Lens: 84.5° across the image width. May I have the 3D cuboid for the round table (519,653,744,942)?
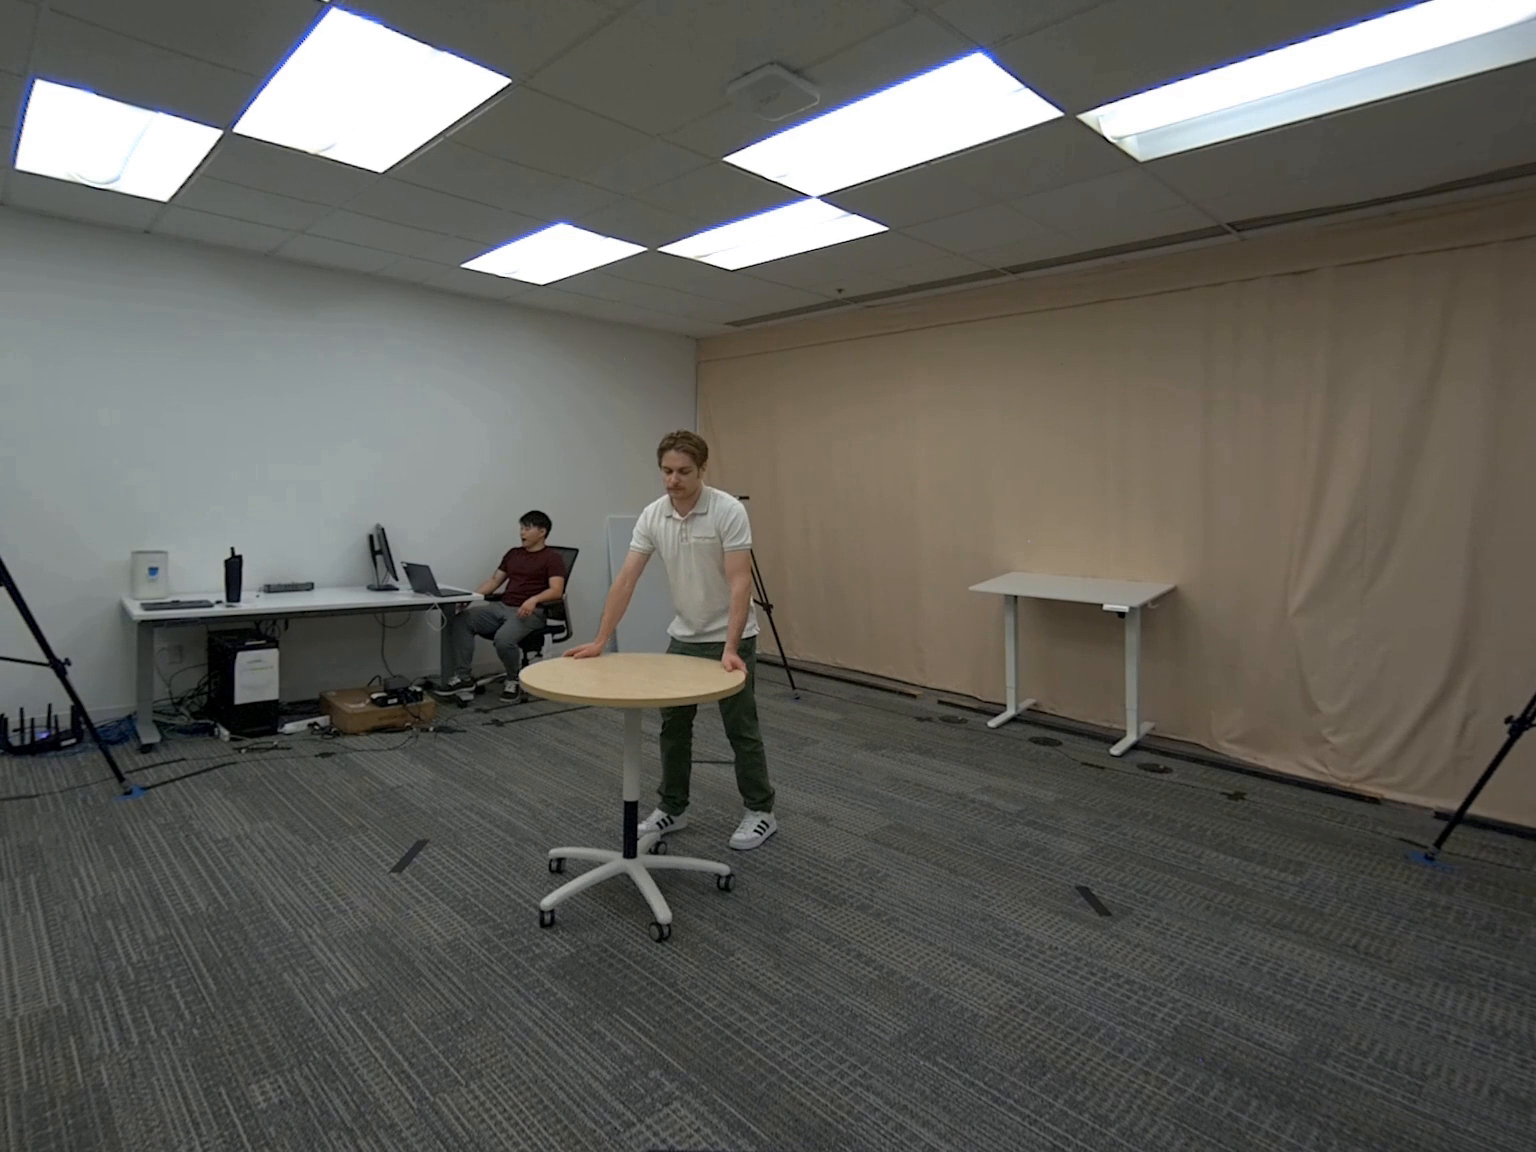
[{"bbox_3d":[-0.482,0.729,2.899,0.763,0.792,0.766,2,4,-1],"label":"round table"}]
